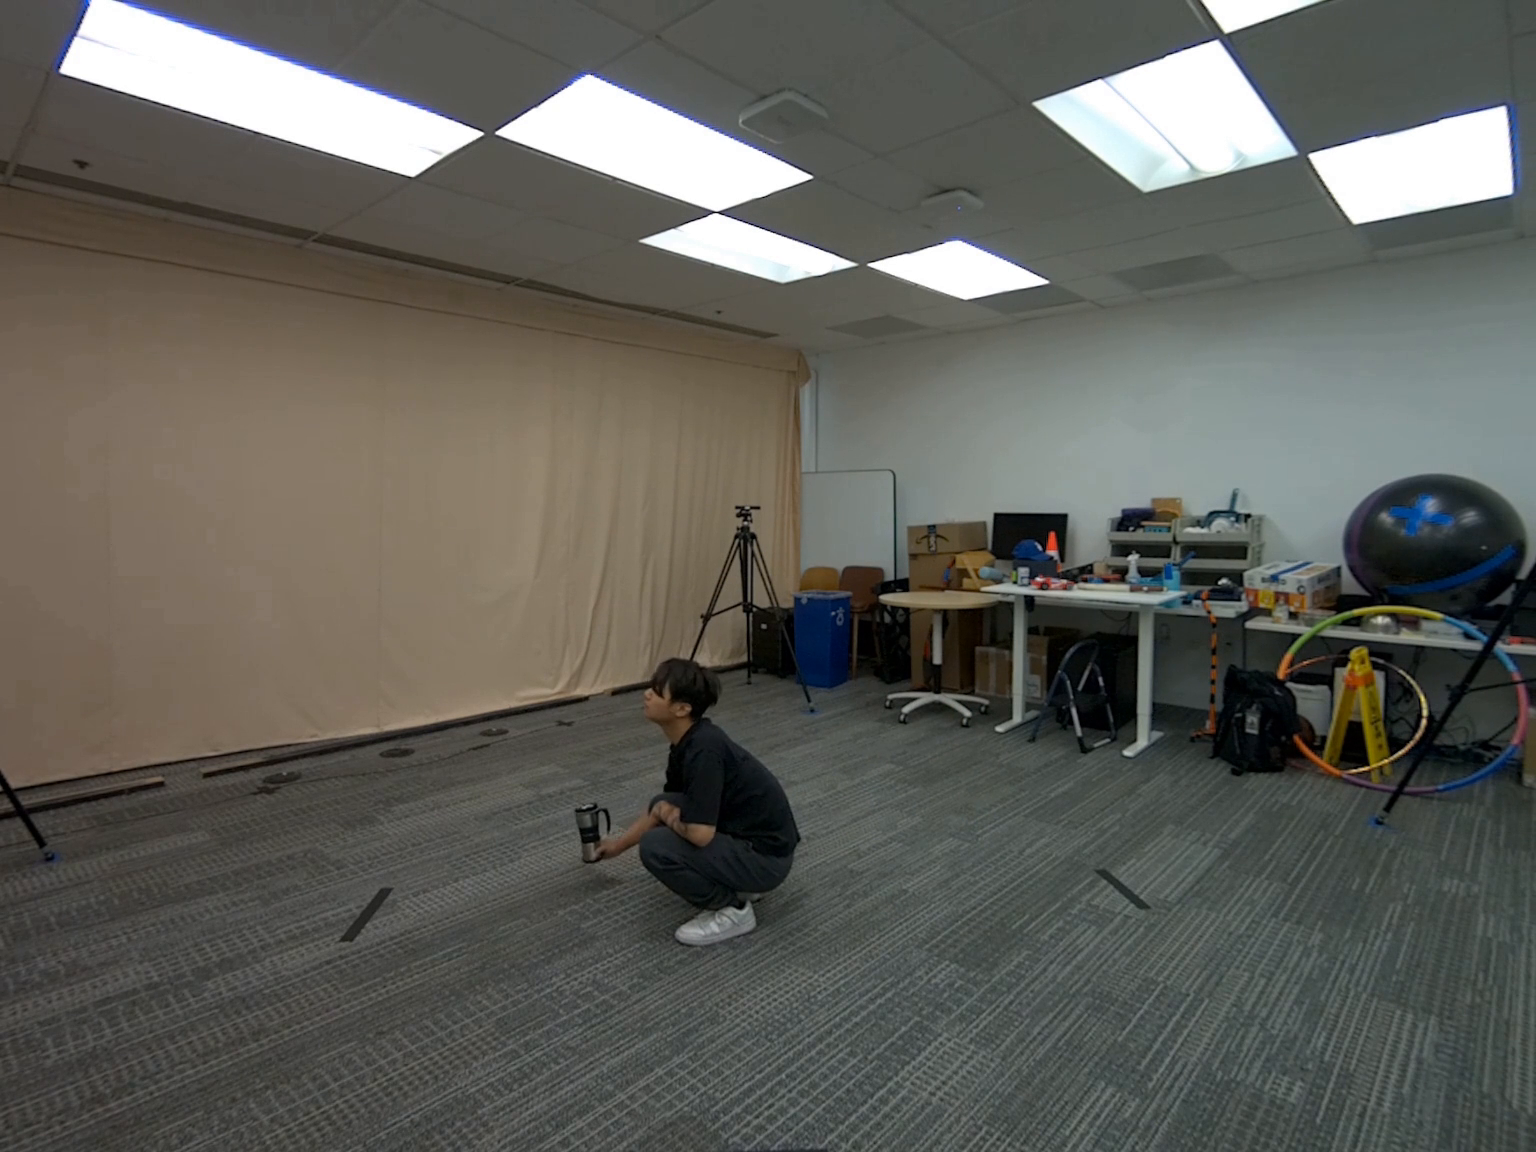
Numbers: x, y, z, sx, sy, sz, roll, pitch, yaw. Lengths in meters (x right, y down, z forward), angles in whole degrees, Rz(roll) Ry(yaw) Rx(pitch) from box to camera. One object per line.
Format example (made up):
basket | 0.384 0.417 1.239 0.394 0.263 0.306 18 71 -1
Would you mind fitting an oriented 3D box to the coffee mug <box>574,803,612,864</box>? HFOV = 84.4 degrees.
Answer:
coffee mug | -0.644 0.949 3.087 0.125 0.204 0.085 -13 -8 41
